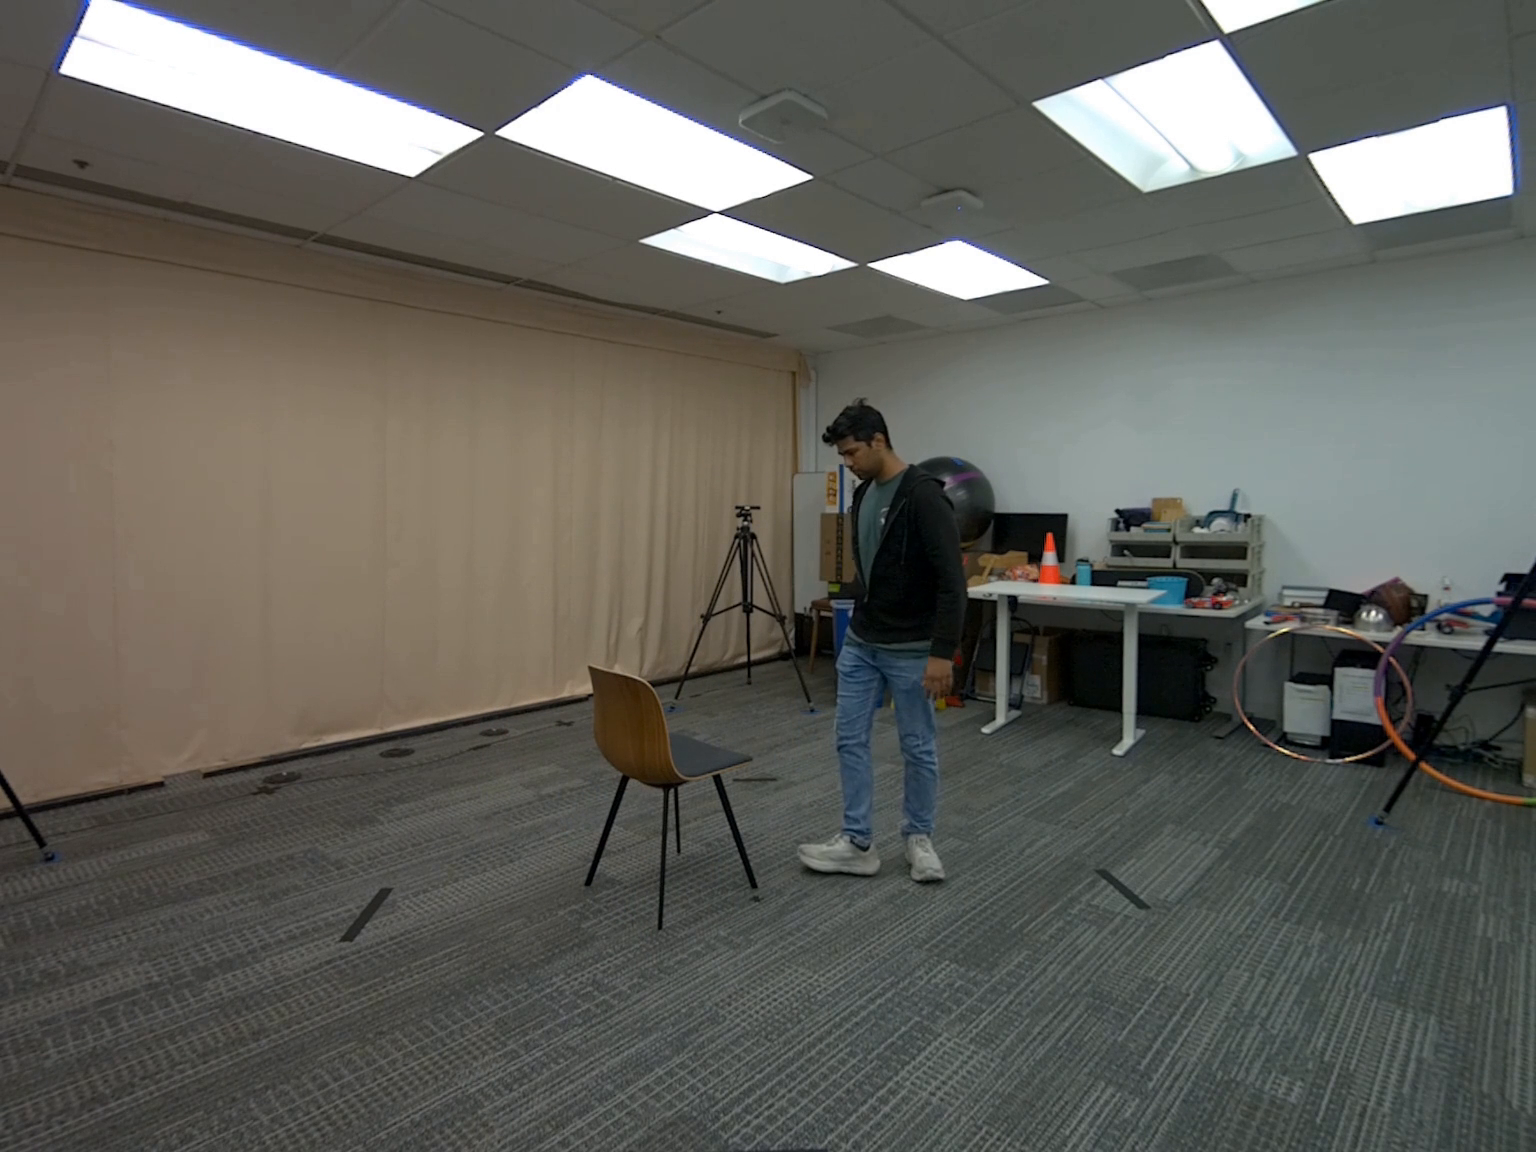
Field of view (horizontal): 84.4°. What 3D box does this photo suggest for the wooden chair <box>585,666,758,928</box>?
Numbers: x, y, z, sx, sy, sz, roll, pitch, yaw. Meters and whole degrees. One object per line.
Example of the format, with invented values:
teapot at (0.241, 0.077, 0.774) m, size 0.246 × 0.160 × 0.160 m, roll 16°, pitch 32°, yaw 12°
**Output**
wooden chair at (-0.345, 0.713, 3.054) m, size 0.508 × 0.874 × 0.494 m, roll -9°, pitch 8°, yaw -44°
